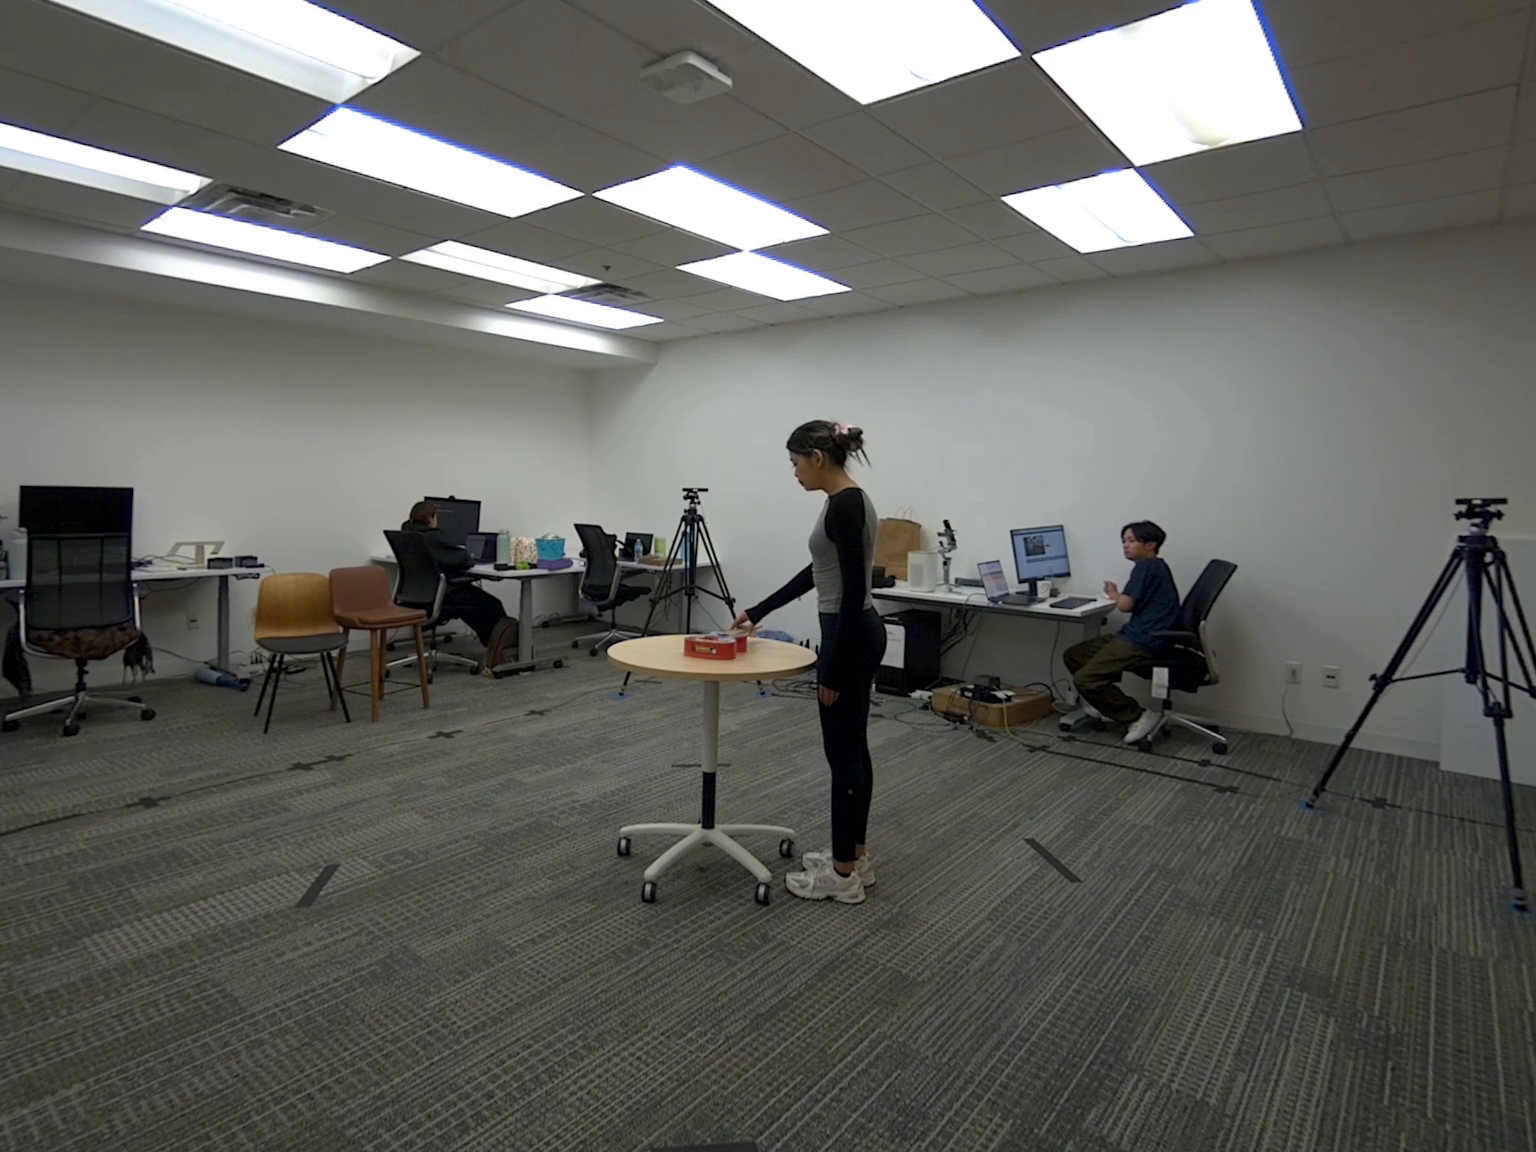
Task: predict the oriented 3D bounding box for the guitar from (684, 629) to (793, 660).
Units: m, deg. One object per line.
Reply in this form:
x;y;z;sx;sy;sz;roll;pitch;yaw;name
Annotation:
-0.126;0.239;3.189;0.199;0.070;0.485;6;7;30;guitar
